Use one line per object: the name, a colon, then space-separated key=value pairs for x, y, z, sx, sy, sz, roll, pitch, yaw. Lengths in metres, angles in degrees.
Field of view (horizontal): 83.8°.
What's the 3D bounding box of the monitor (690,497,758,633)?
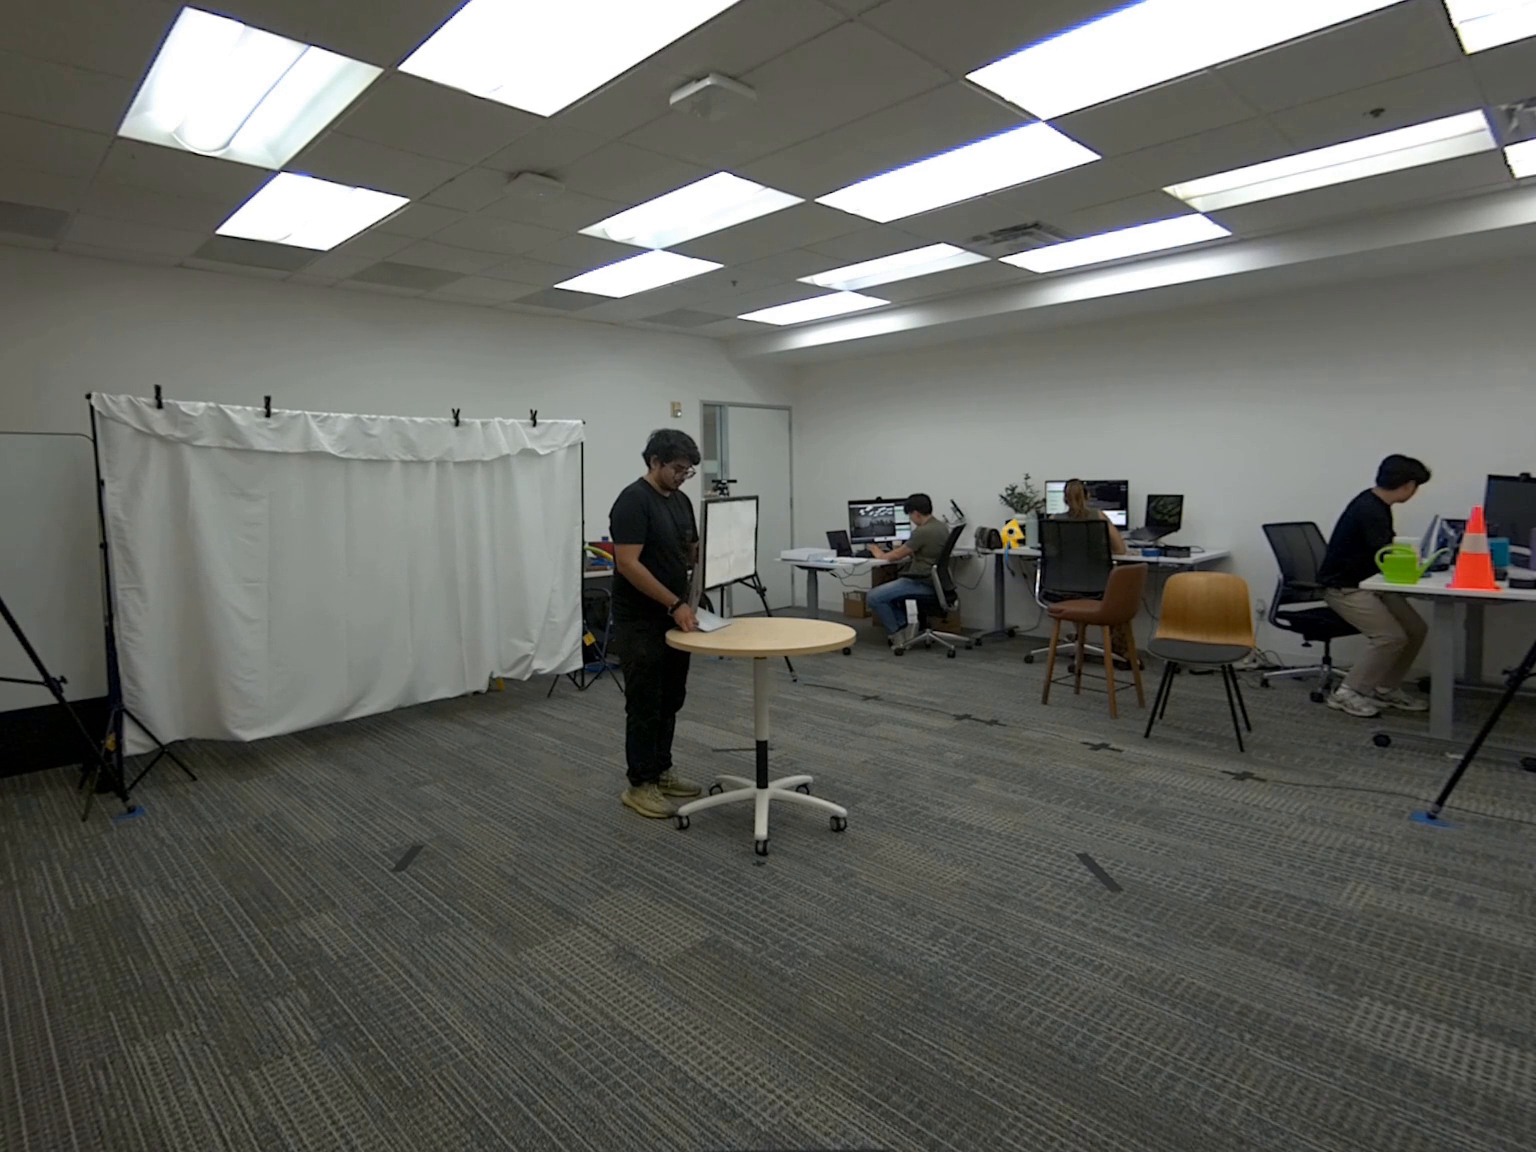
monitor: x=-0.236 y=-0.070 z=3.566 sx=0.215 sy=0.550 sz=0.556 roll=11 pitch=10 yaw=21
